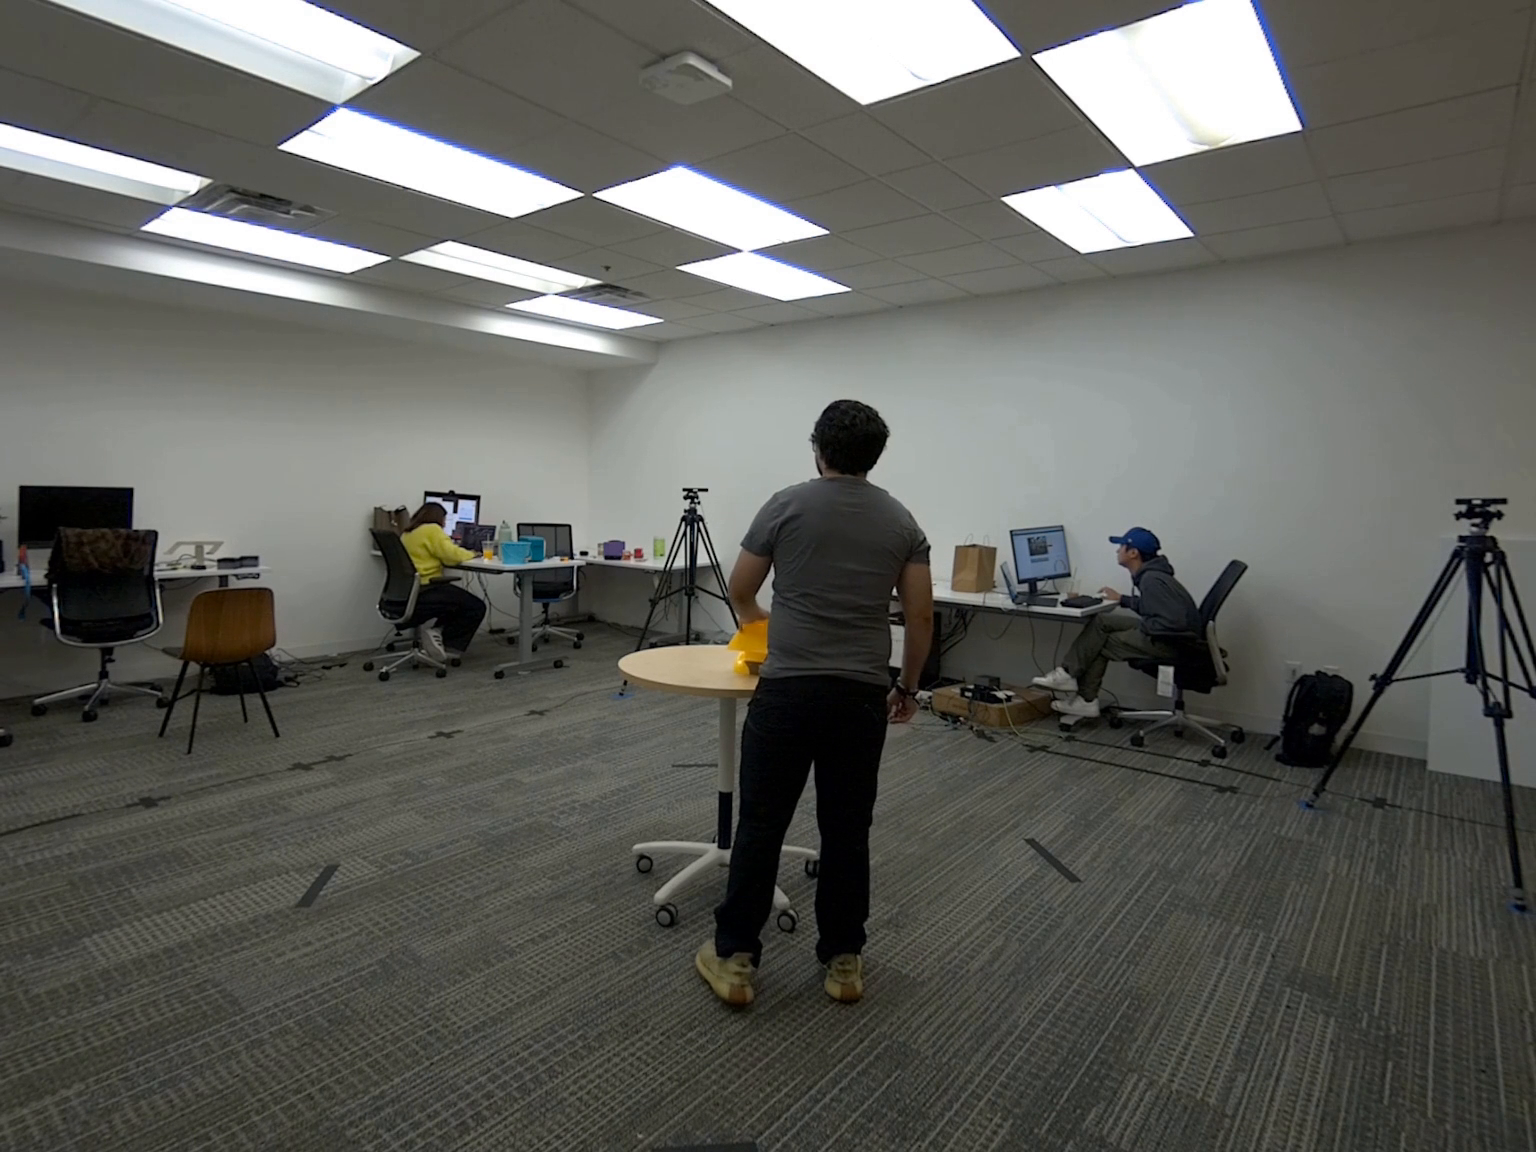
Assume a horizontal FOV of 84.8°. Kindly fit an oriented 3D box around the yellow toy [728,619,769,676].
[{"bbox_3d":[-0.027,0.203,2.836,0.209,0.229,0.190,5,8,18],"label":"yellow toy"}]
